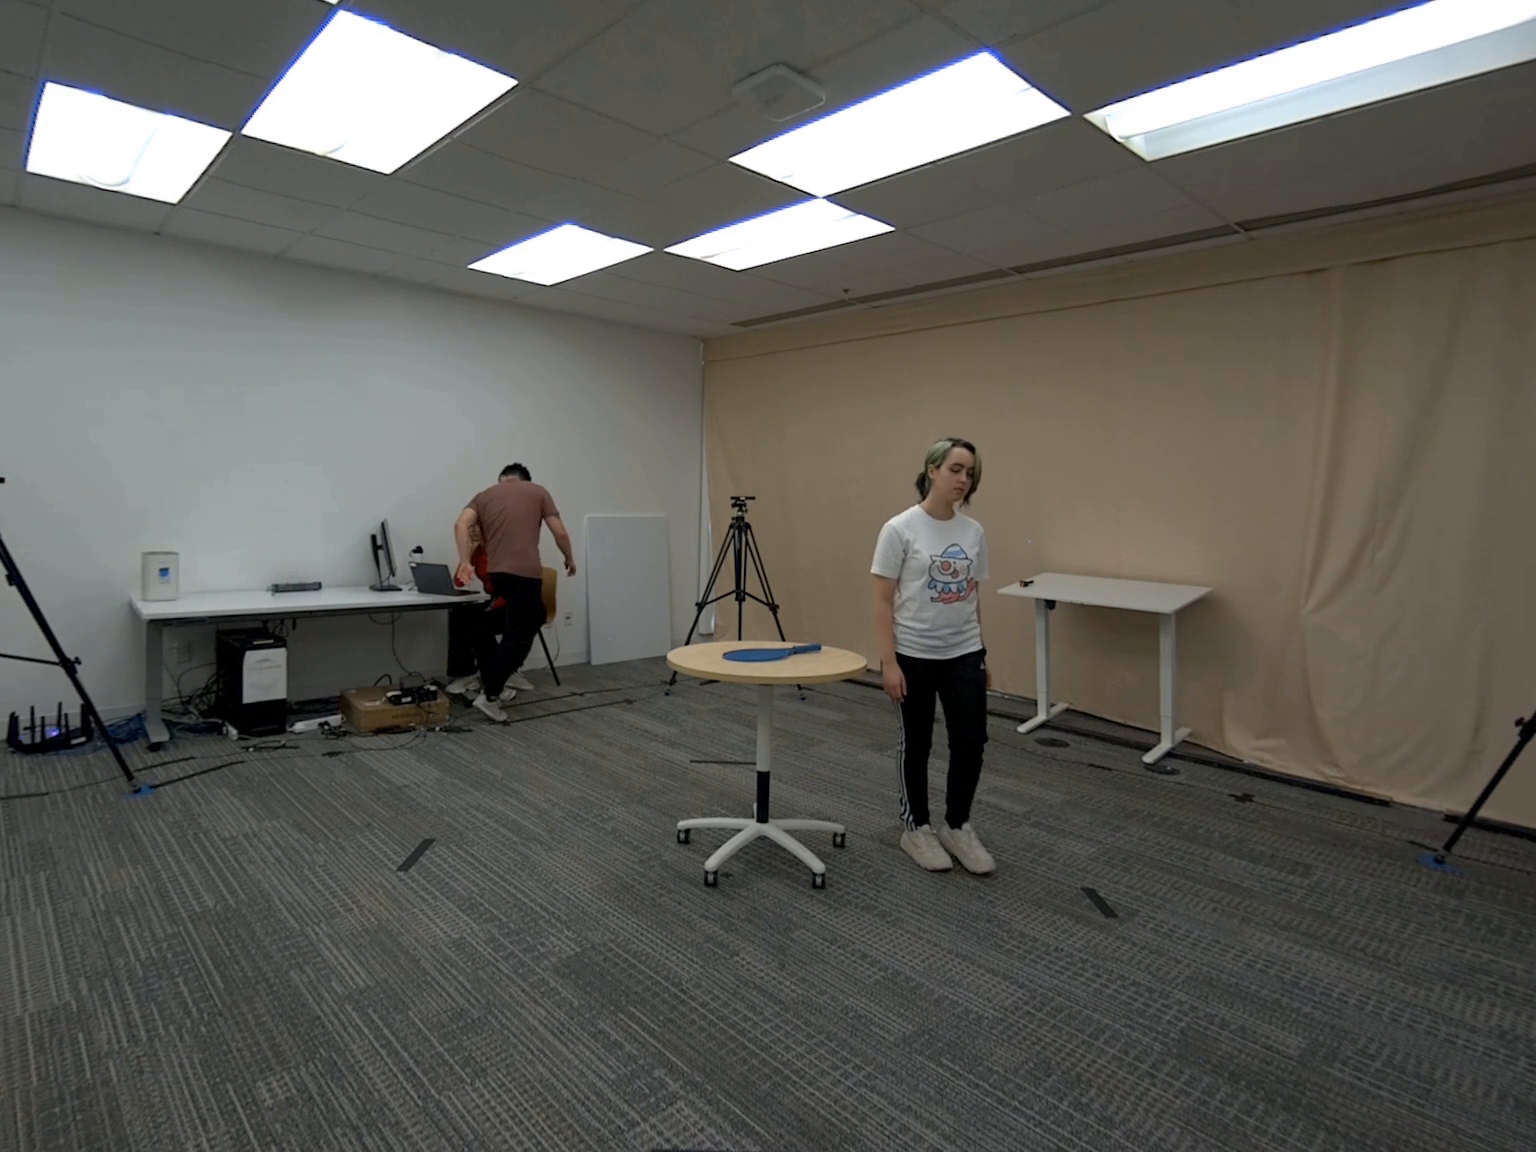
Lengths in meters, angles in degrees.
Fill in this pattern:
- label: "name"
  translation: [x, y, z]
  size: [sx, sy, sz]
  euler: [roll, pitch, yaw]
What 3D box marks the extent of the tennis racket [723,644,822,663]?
- label: "tennis racket"
  translation: [0.008, 0.300, 3.264]
  size: [0.424, 0.031, 0.219]
  euler: [-3, 7, -34]
